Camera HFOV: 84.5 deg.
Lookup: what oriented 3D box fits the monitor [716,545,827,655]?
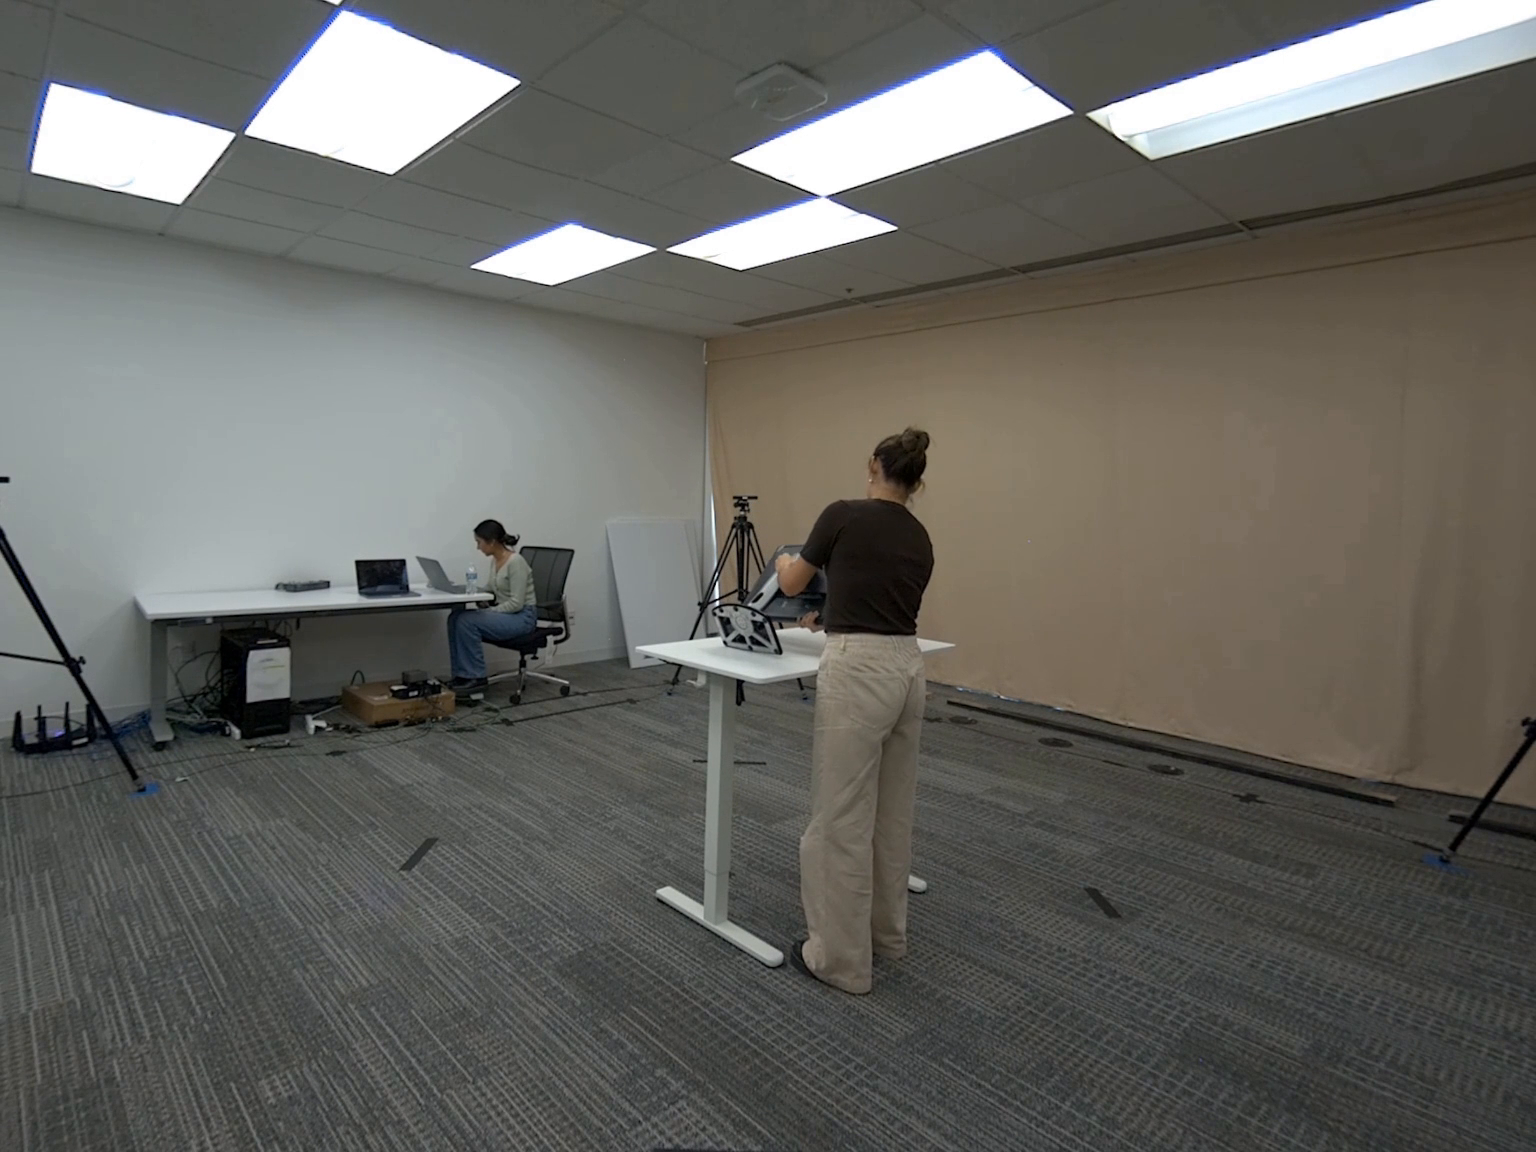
[{"bbox_3d":[0.076,0.049,2.884,0.552,0.183,0.520,3,35,45],"label":"monitor"}]
